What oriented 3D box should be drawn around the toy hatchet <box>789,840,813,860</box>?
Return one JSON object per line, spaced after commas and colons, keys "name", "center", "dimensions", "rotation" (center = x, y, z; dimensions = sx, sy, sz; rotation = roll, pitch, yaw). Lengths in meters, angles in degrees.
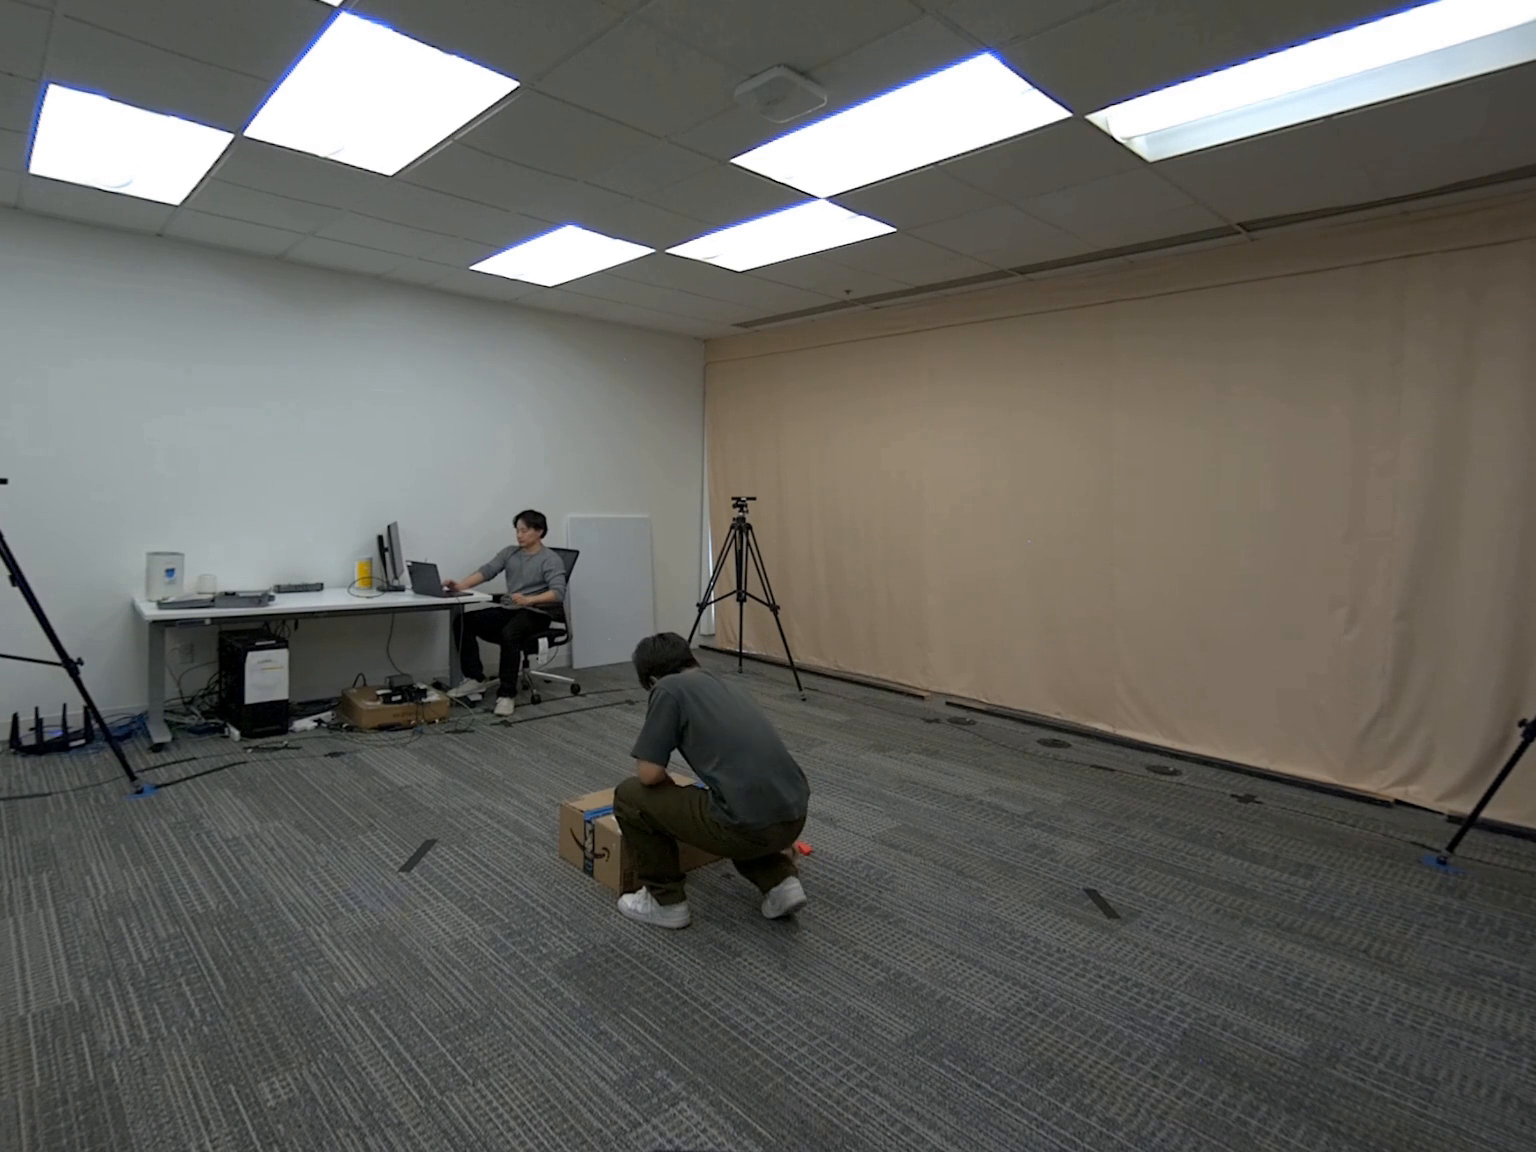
{"name": "toy hatchet", "center": [0.115, 1.094, 3.249], "dimensions": [0.130, 0.029, 0.272], "rotation": [4, 6, -7]}
